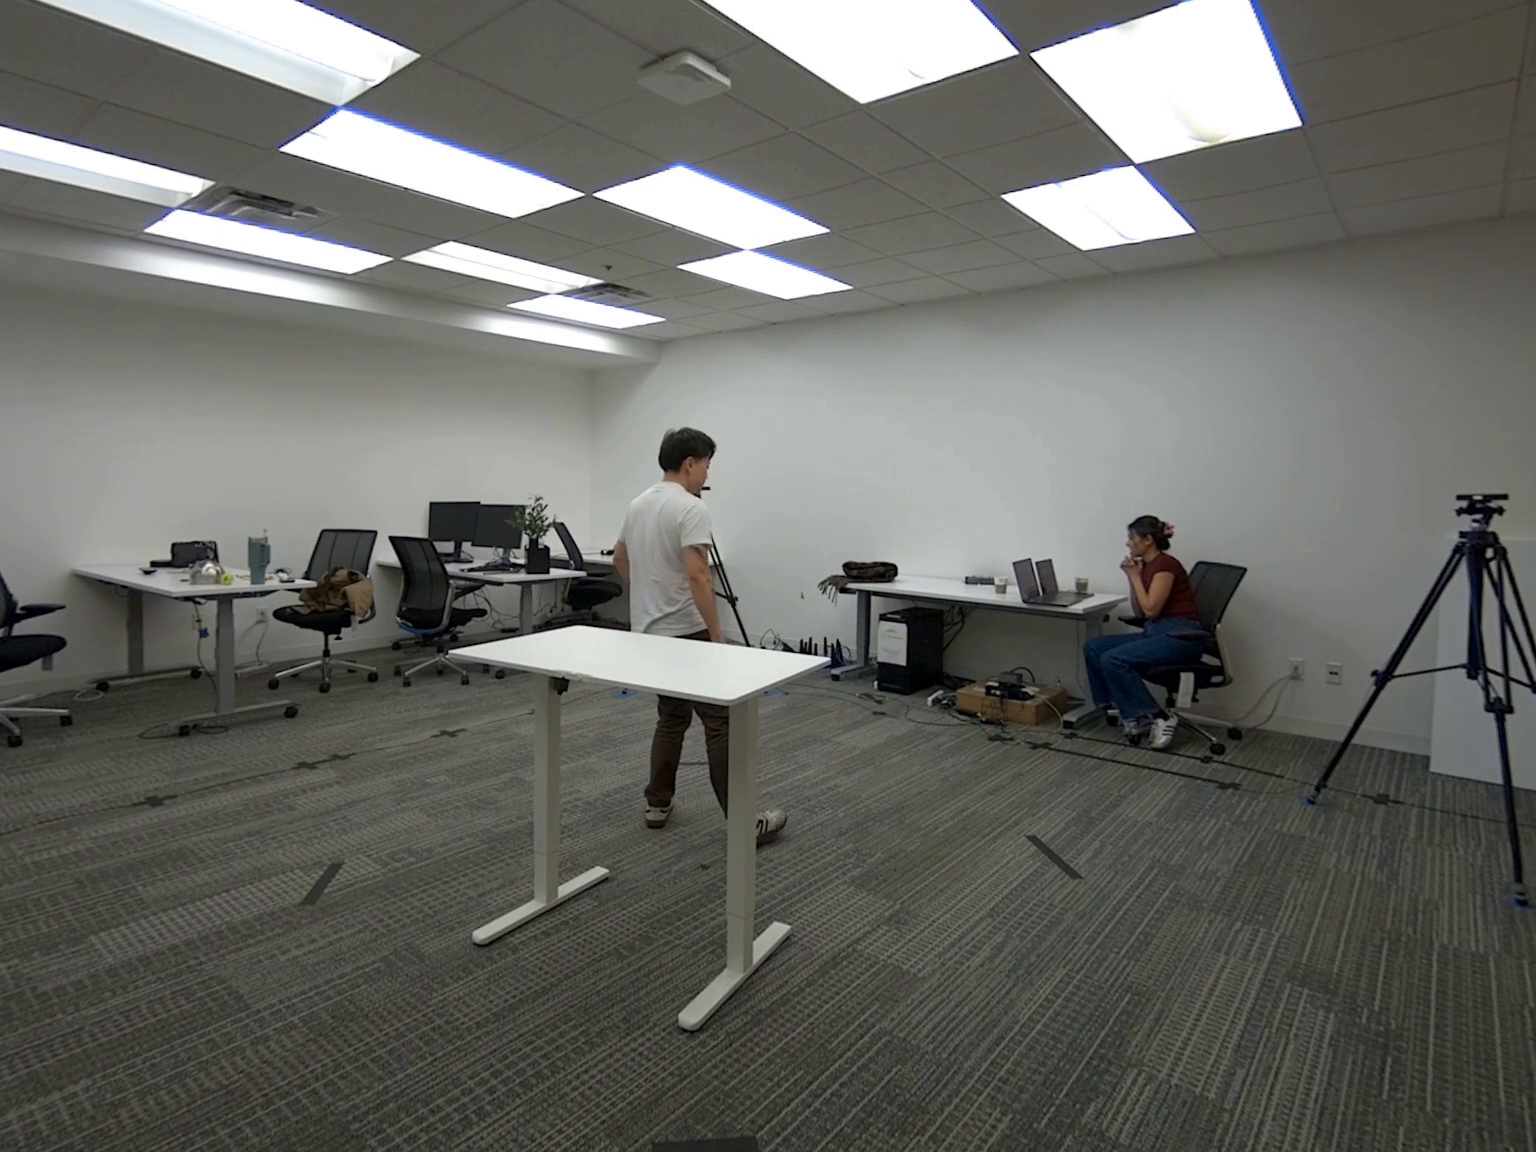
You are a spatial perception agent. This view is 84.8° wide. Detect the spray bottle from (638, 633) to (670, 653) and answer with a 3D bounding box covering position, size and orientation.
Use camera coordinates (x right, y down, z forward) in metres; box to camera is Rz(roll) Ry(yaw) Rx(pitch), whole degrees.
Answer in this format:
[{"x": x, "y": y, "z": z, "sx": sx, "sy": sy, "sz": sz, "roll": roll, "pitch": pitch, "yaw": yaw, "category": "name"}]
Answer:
[{"x": -0.476, "y": 0.194, "z": 3.811, "sx": 0.087, "sy": 0.295, "sz": 0.090, "roll": 18, "pitch": 24, "yaw": -32, "category": "spray bottle"}]
